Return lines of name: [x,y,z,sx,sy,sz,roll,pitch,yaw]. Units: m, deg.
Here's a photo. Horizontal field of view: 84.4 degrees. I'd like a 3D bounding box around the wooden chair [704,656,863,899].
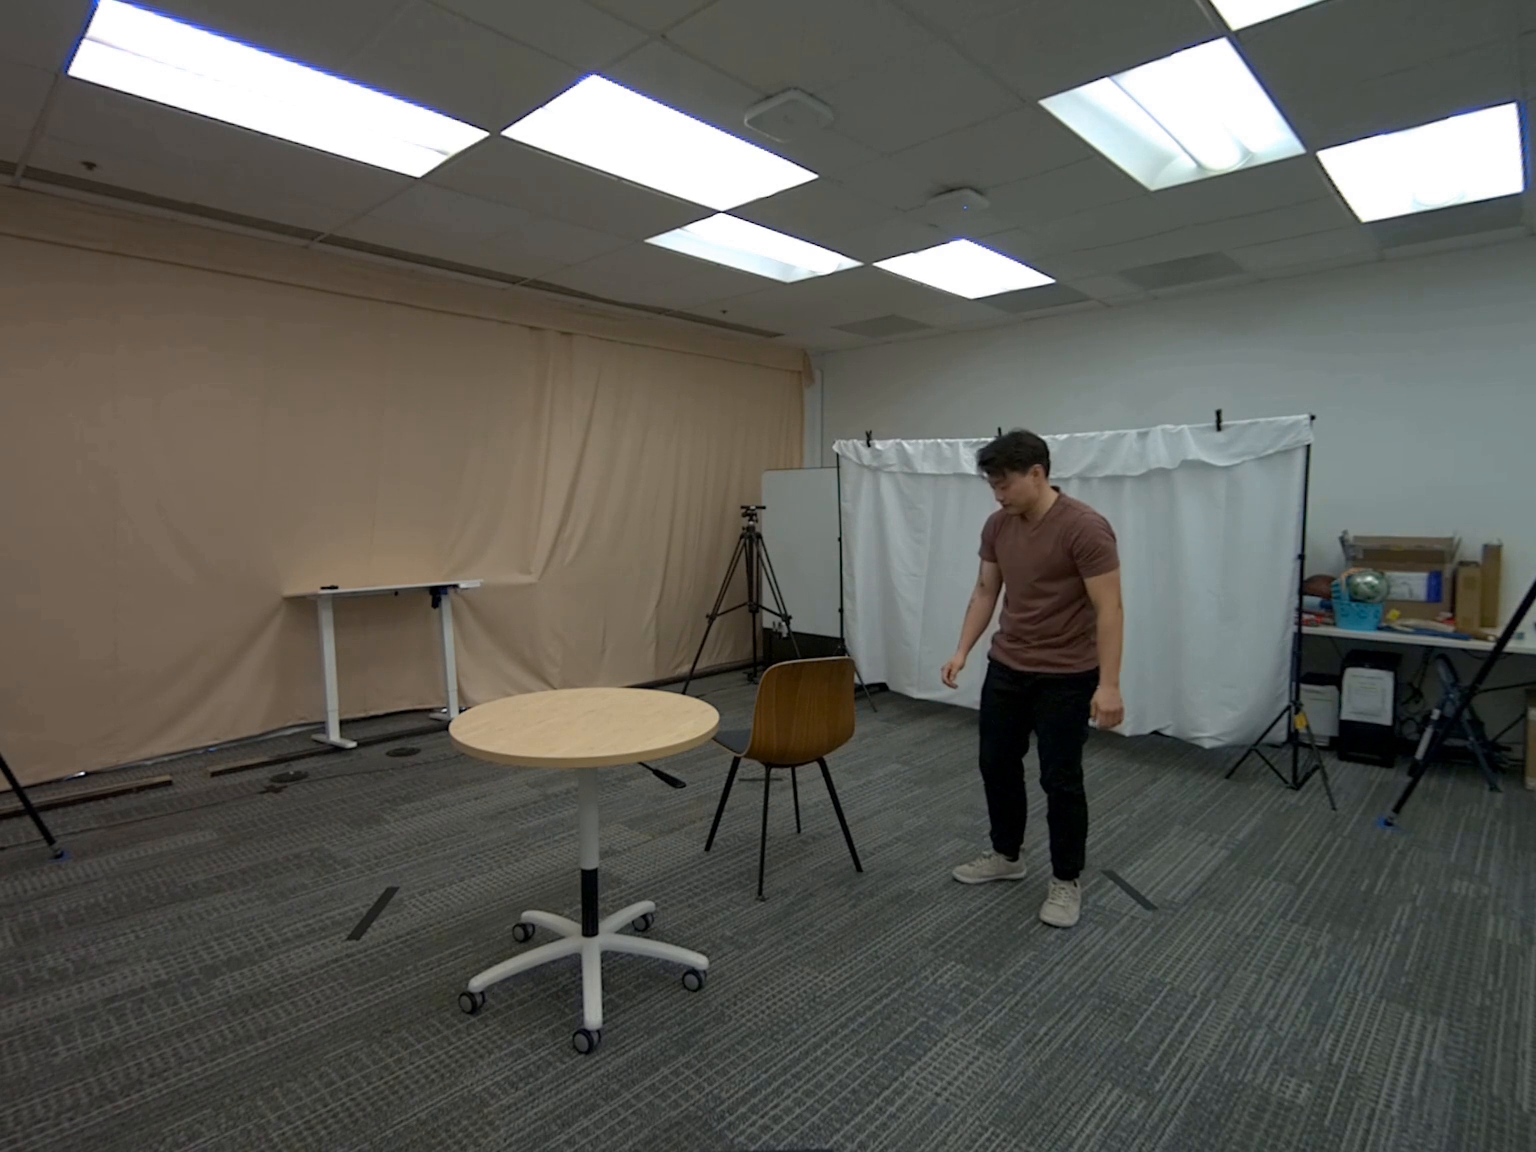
wooden chair: [0.049,0.692,3.274,0.466,0.873,0.539,-2,8,-28]
